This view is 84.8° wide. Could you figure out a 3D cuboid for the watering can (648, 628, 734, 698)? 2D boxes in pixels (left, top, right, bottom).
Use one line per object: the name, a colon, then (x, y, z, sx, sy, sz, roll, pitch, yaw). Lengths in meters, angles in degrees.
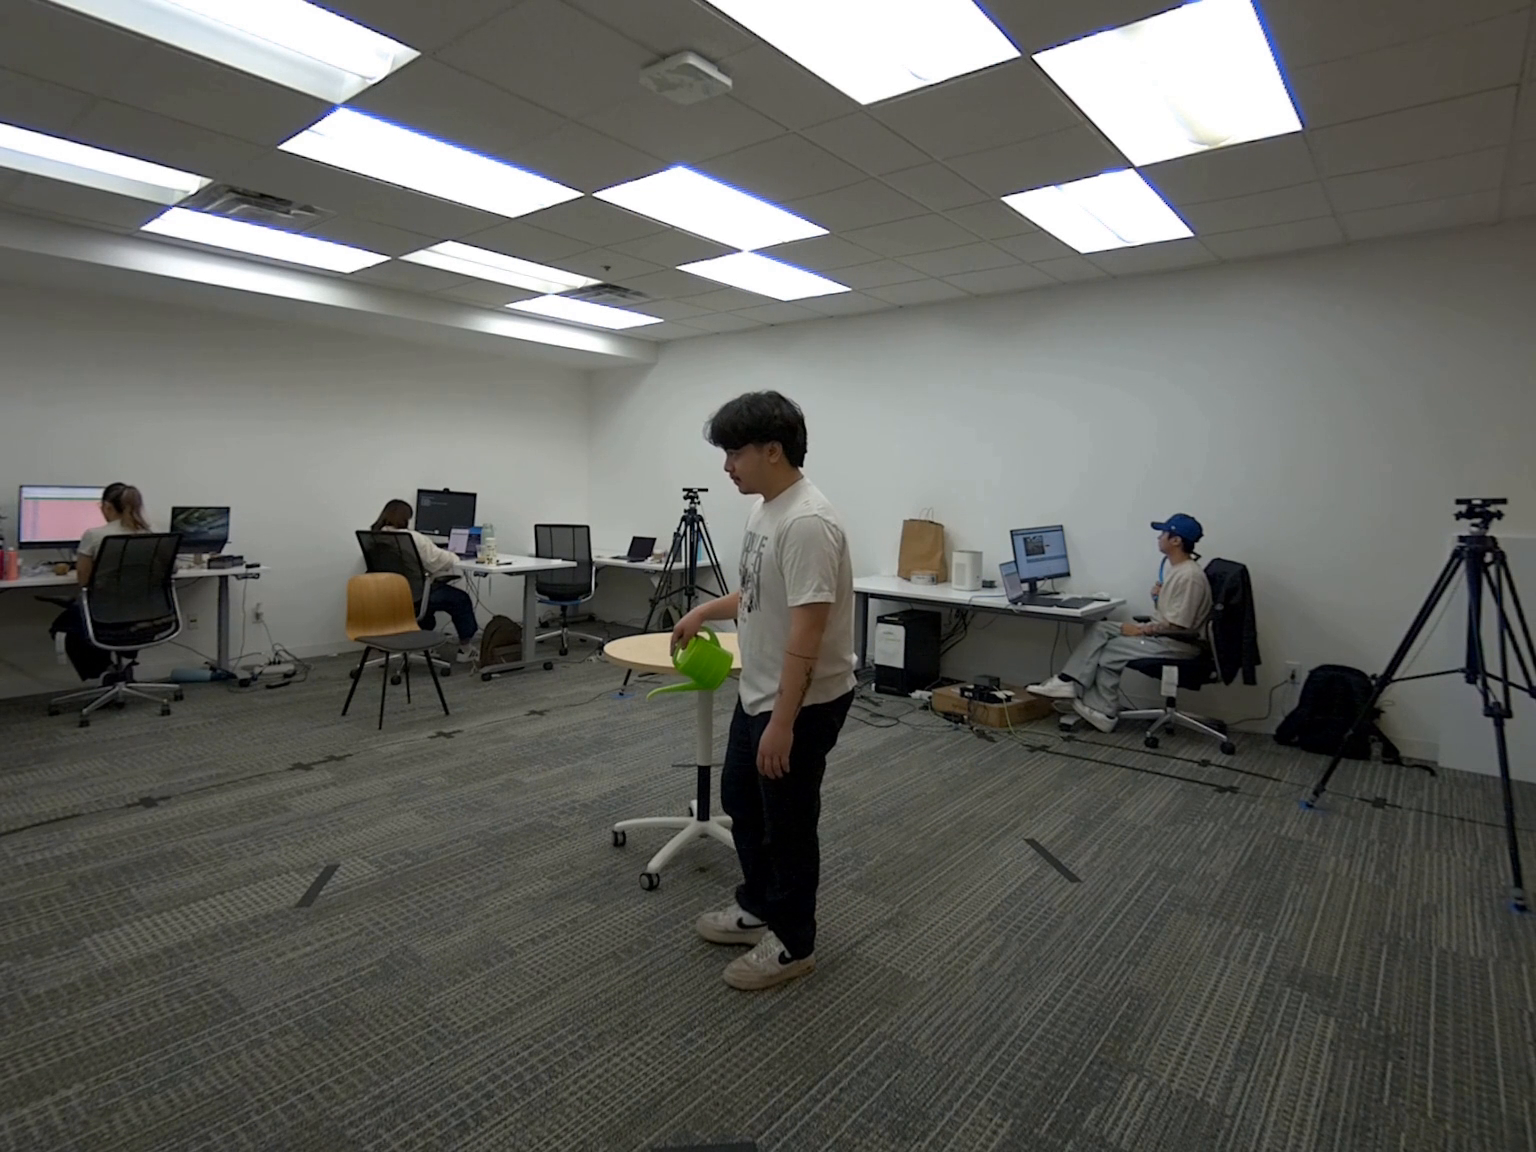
watering can: (-0.248, 0.292, 2.611, 0.174, 0.278, 0.100, 33, 7, -13)
